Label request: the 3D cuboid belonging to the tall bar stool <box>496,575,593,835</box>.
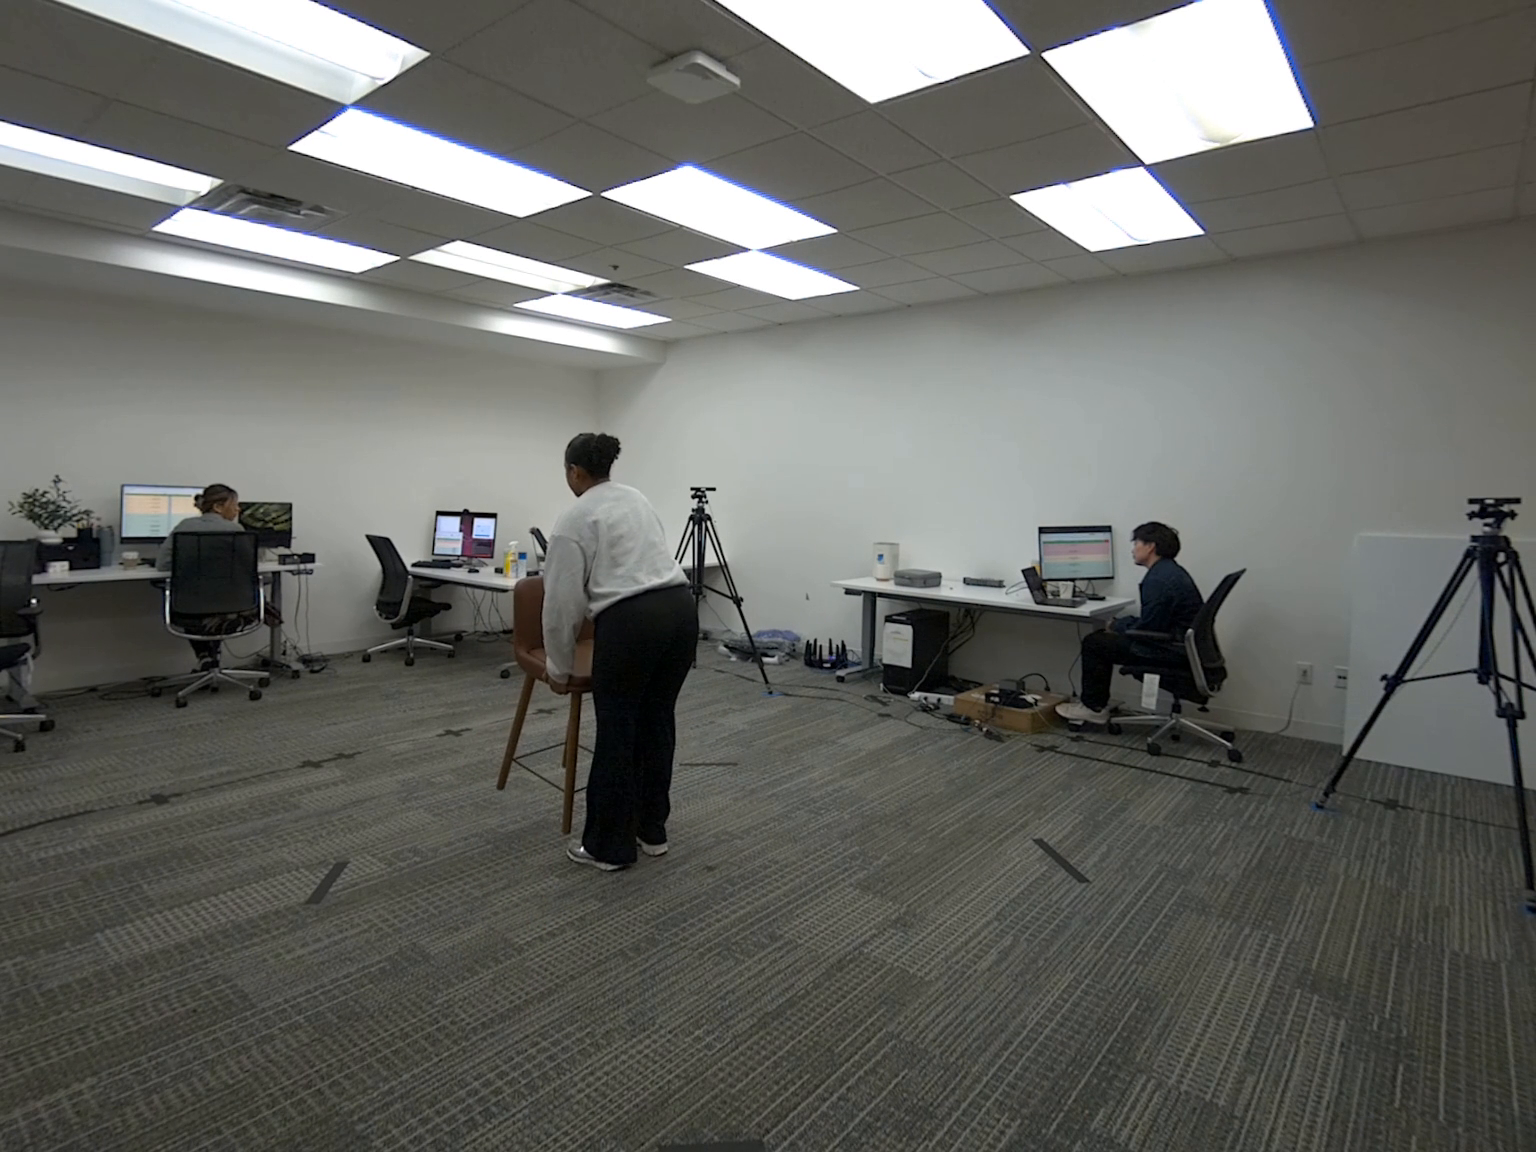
[{"bbox_3d":[-0.778,0.471,3.389,0.484,0.884,0.443,12,9,35],"label":"tall bar stool"}]
